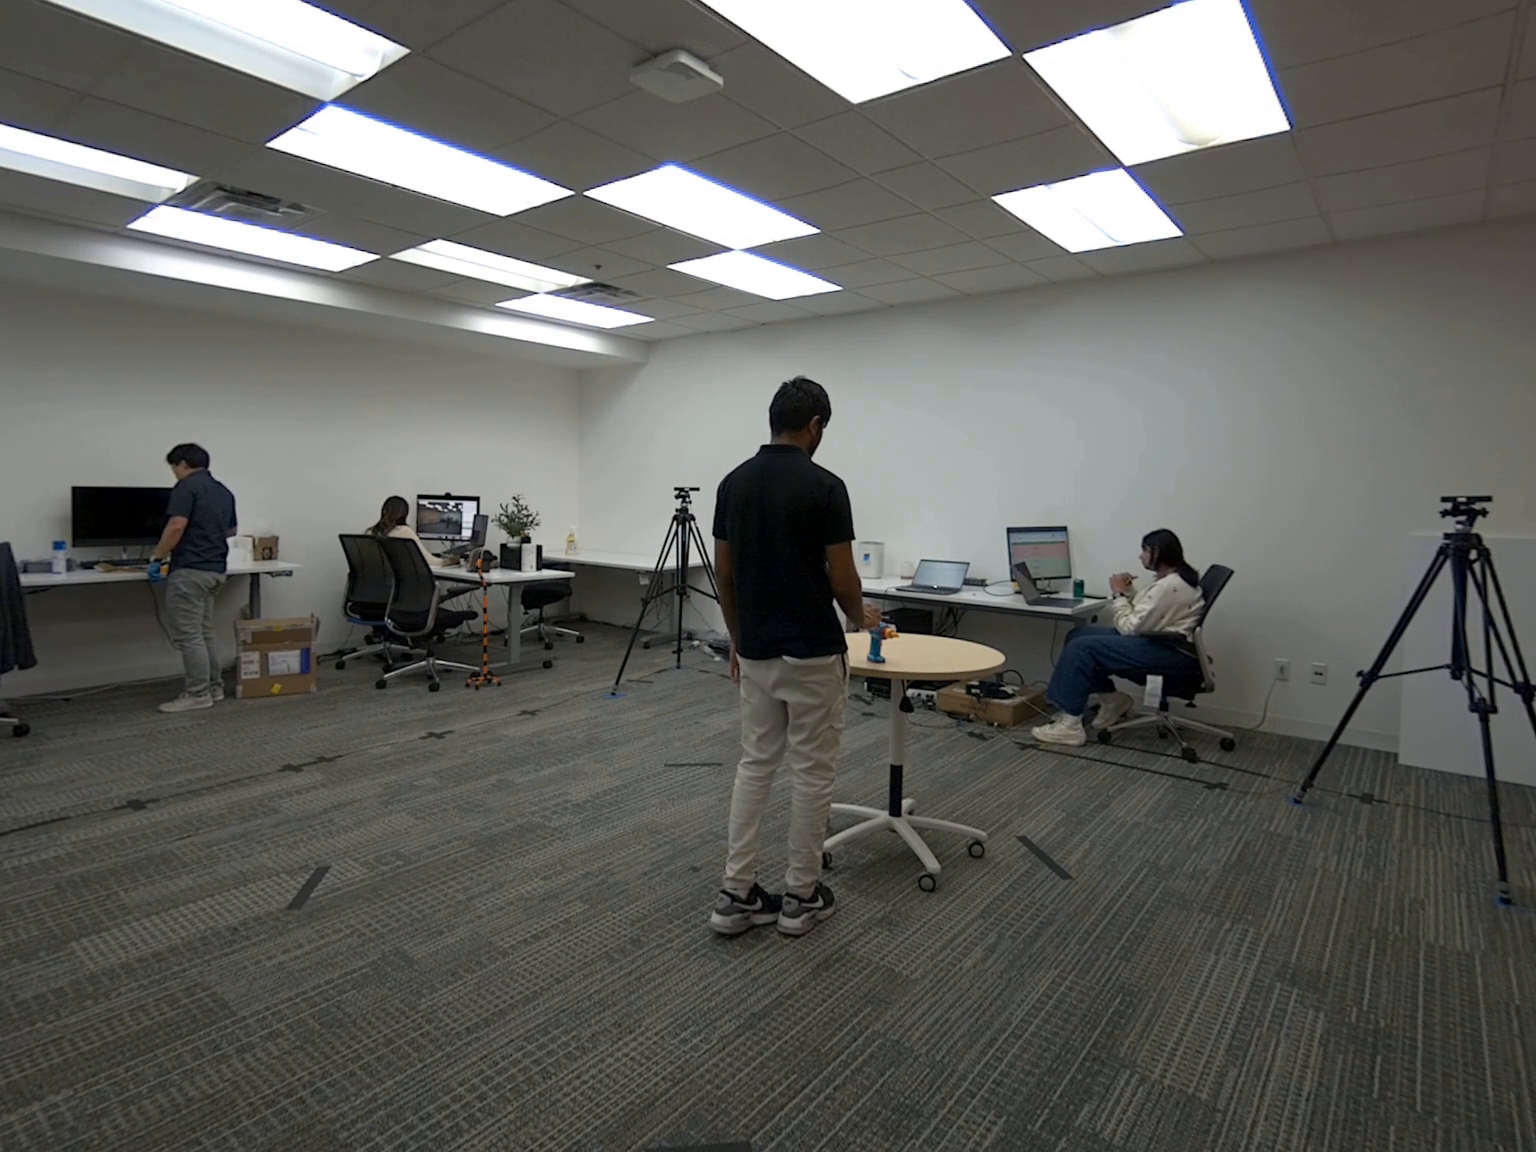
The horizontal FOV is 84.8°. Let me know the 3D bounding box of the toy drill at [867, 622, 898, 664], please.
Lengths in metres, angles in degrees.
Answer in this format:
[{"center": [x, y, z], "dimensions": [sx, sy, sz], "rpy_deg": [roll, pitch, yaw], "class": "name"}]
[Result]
[{"center": [0.405, 0.236, 3.007], "dimensions": [0.059, 0.145, 0.175], "rpy_deg": [3, 4, -28], "class": "toy drill"}]
